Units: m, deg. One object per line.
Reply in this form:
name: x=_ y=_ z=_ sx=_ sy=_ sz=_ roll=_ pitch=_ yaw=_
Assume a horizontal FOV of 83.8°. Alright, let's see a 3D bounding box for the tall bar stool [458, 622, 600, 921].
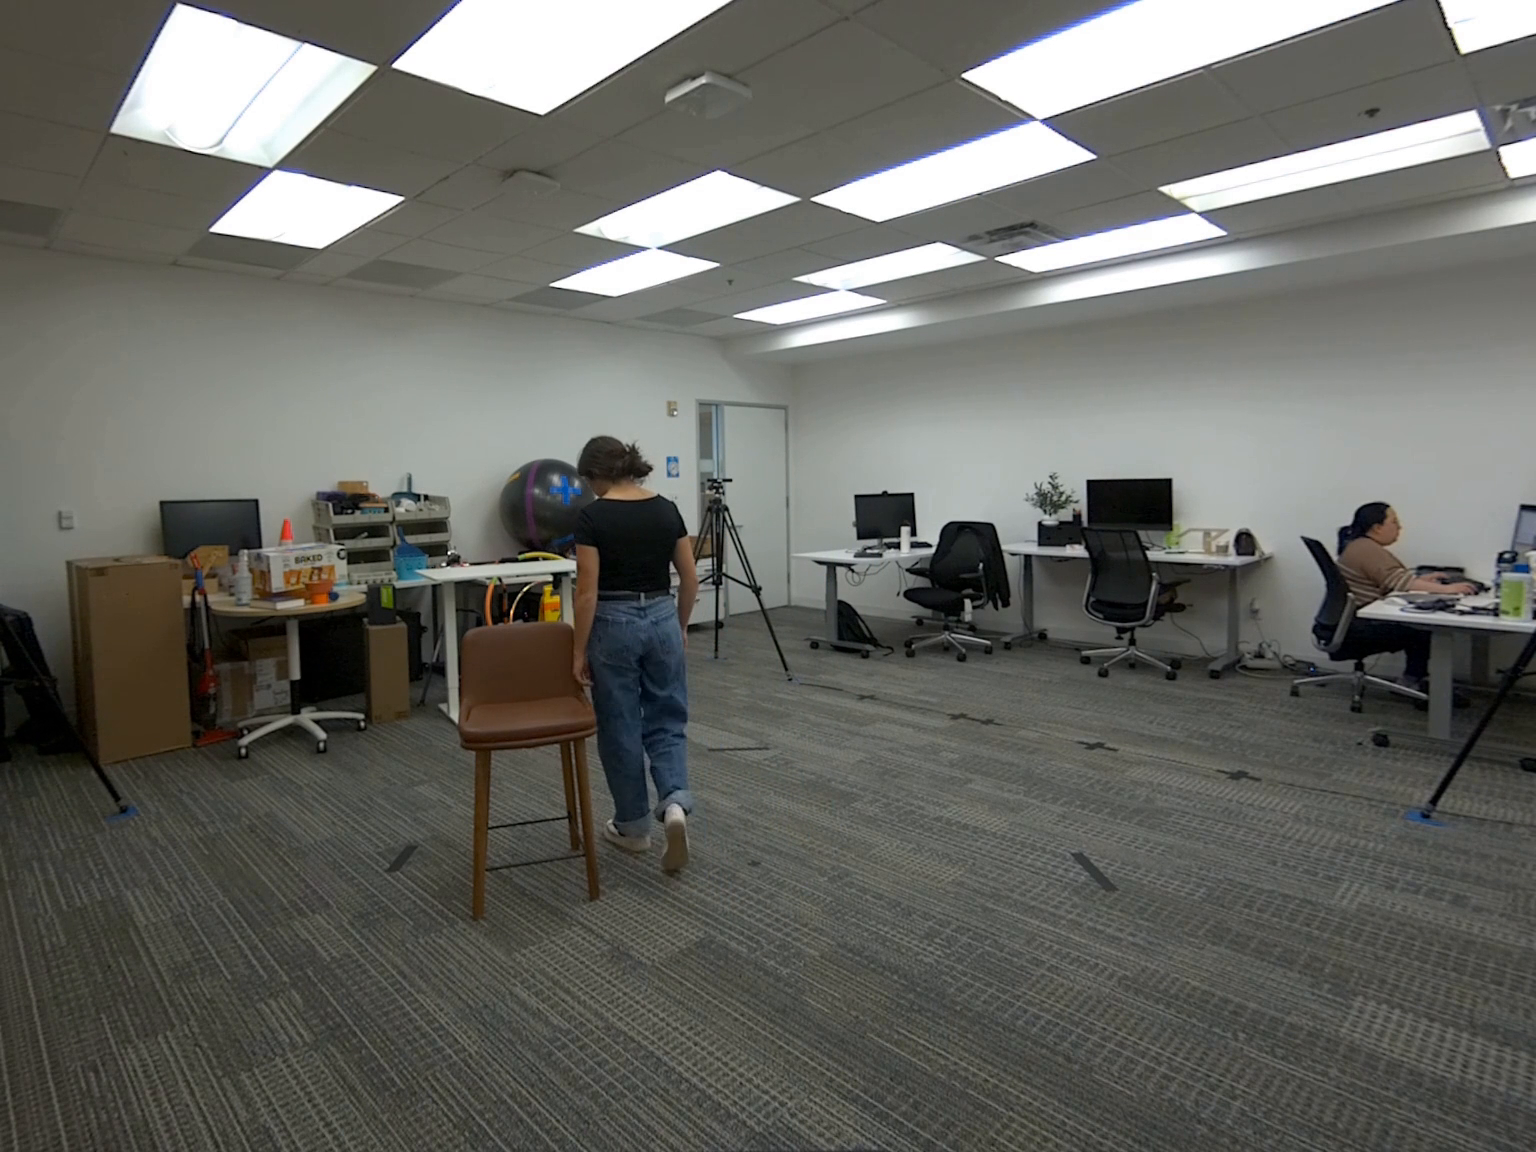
tall bar stool: x=-0.839 y=0.639 z=2.984 sx=0.449 sy=0.887 sz=0.476 roll=-3 pitch=3 yaw=-18
